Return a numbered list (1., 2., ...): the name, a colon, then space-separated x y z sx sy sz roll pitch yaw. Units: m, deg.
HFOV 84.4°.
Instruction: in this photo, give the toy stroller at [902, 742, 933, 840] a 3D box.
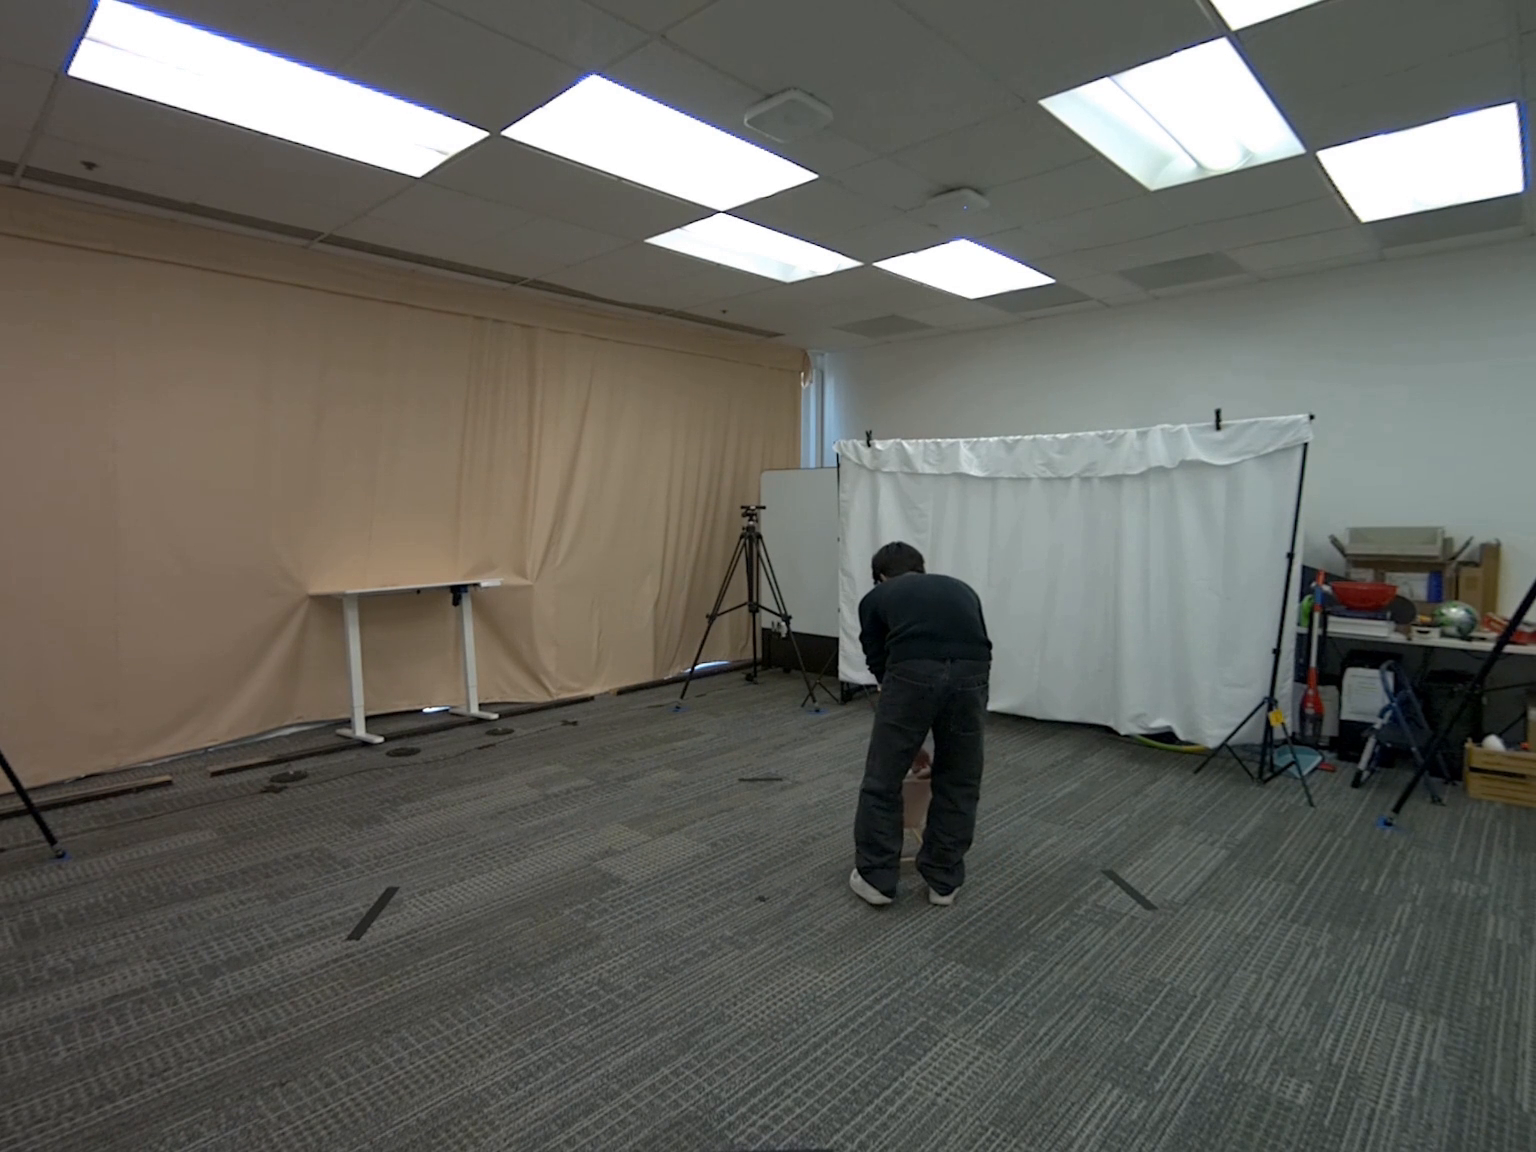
1. toy stroller: 0.514 0.887 3.298 0.276 0.531 0.351 3 17 -20
